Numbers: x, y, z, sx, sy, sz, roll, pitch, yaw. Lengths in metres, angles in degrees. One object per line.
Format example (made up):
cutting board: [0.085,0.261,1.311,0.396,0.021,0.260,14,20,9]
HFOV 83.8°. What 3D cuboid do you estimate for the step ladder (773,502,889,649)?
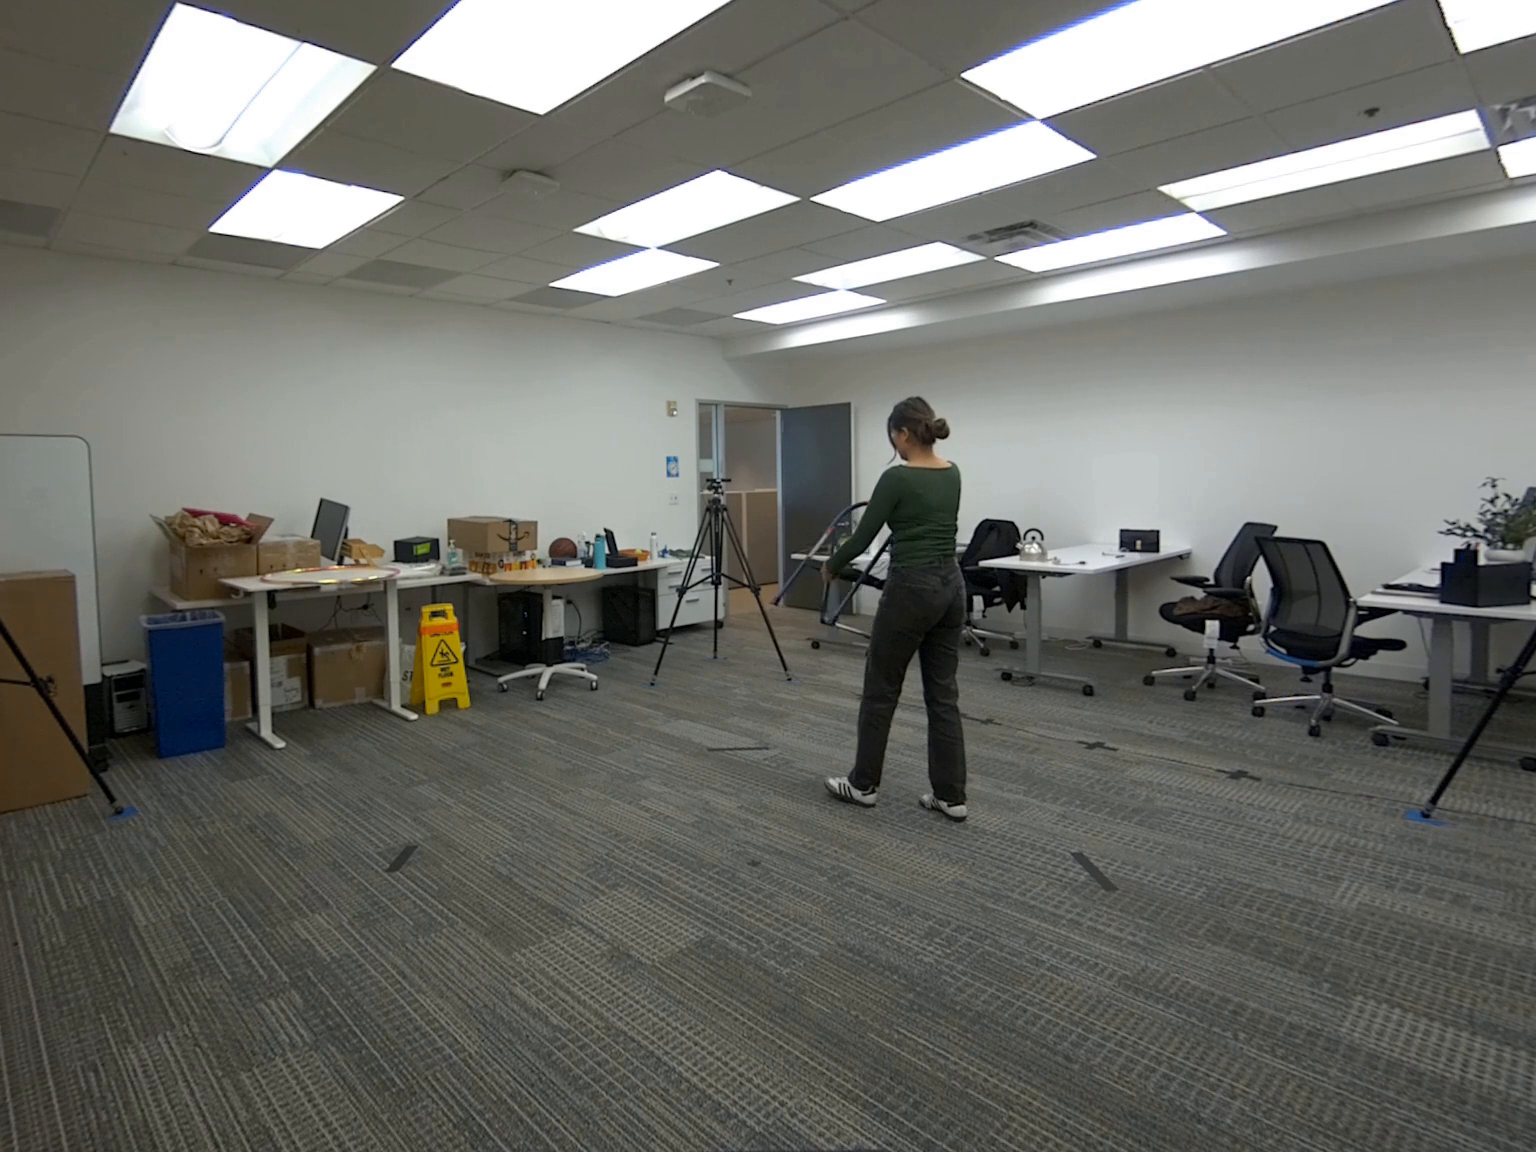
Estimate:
step ladder: [0.357,-0.072,3.825,0.337,0.607,0.445,24,-5,-36]
